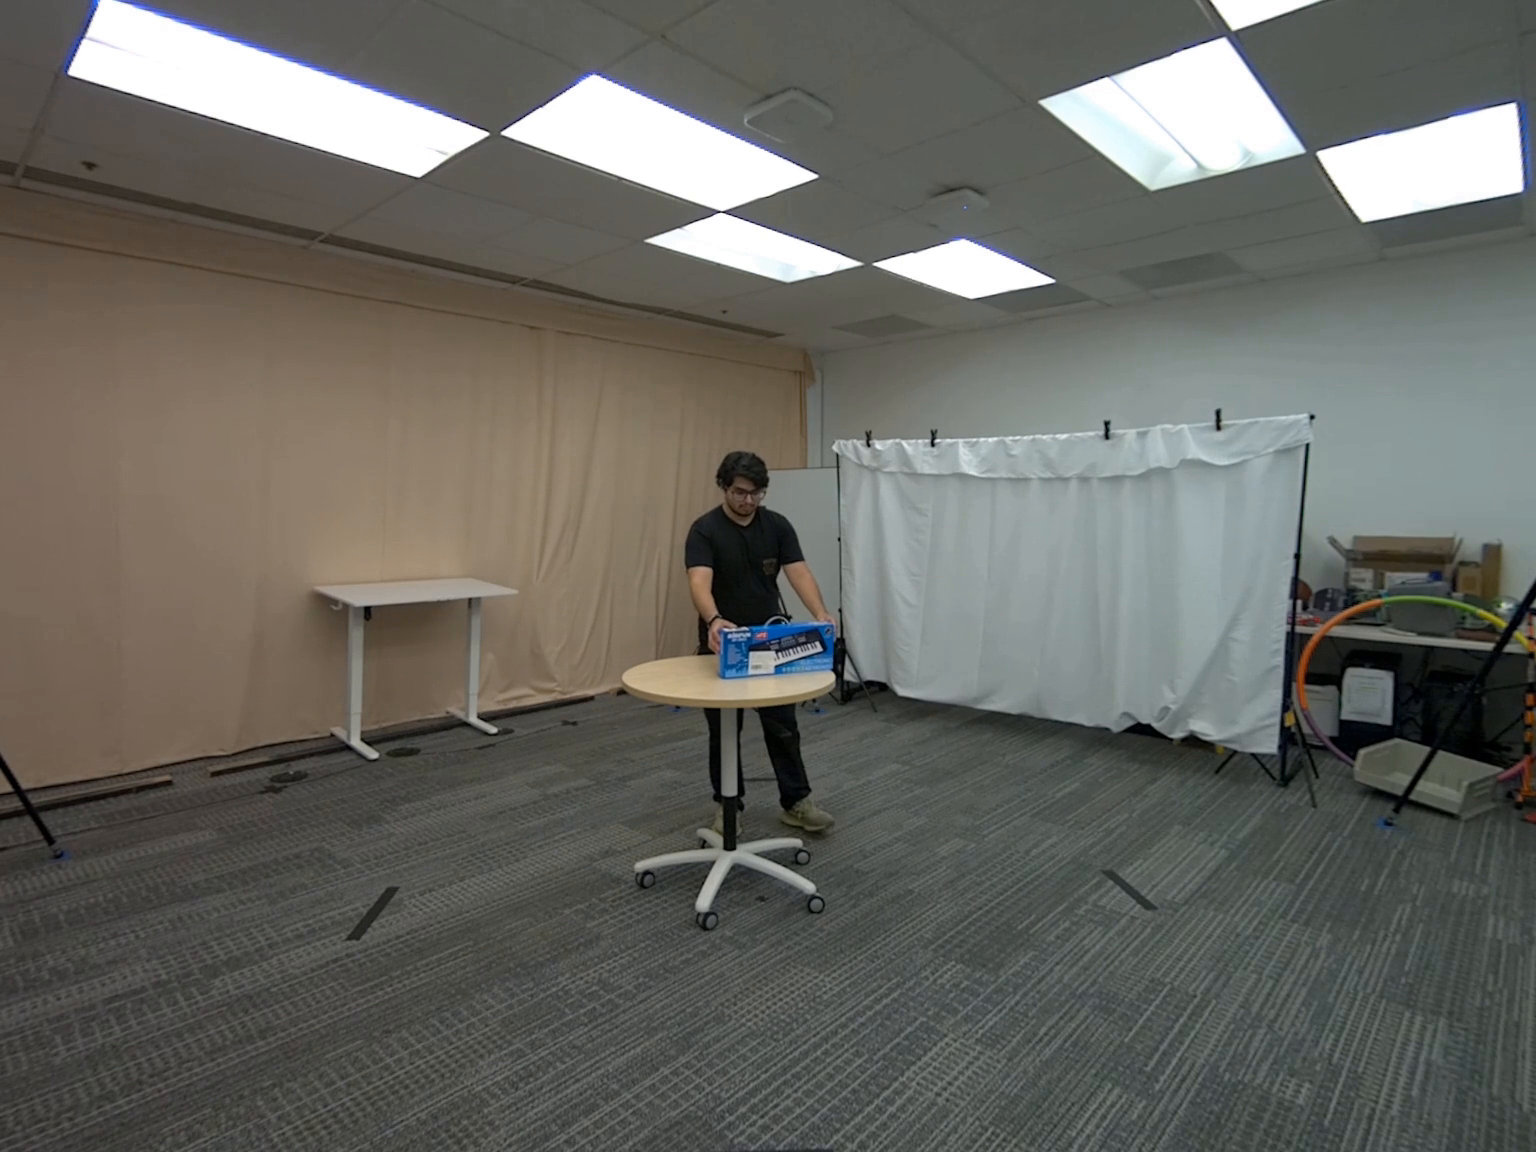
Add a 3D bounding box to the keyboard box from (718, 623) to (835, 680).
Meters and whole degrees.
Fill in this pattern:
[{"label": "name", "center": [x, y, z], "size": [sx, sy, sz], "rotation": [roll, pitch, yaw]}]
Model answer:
[{"label": "keyboard box", "center": [0.030, 0.270, 3.049], "size": [0.428, 0.175, 0.060], "rotation": [-2, 5, -21]}]
